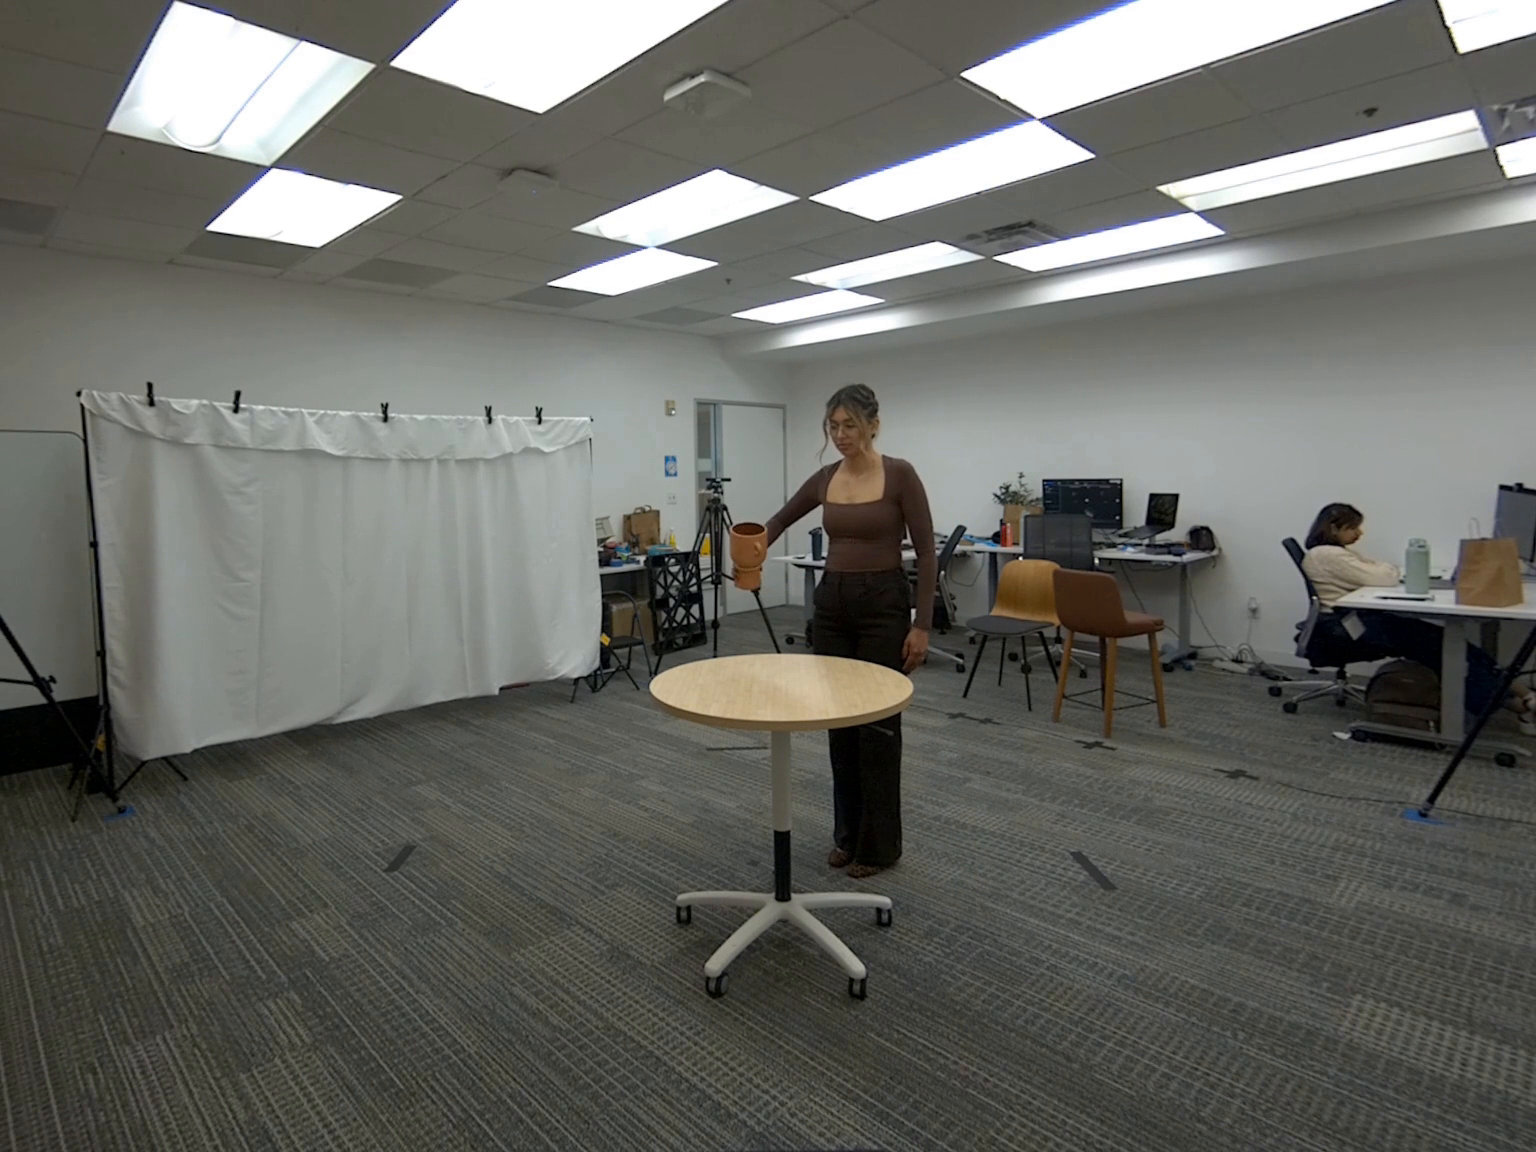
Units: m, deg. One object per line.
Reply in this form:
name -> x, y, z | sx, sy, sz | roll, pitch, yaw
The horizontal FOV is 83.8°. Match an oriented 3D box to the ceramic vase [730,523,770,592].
ceramic vase -> -0.070, -0.070, 3.067 | 0.136, 0.215, 0.160 | 7, 27, 13
